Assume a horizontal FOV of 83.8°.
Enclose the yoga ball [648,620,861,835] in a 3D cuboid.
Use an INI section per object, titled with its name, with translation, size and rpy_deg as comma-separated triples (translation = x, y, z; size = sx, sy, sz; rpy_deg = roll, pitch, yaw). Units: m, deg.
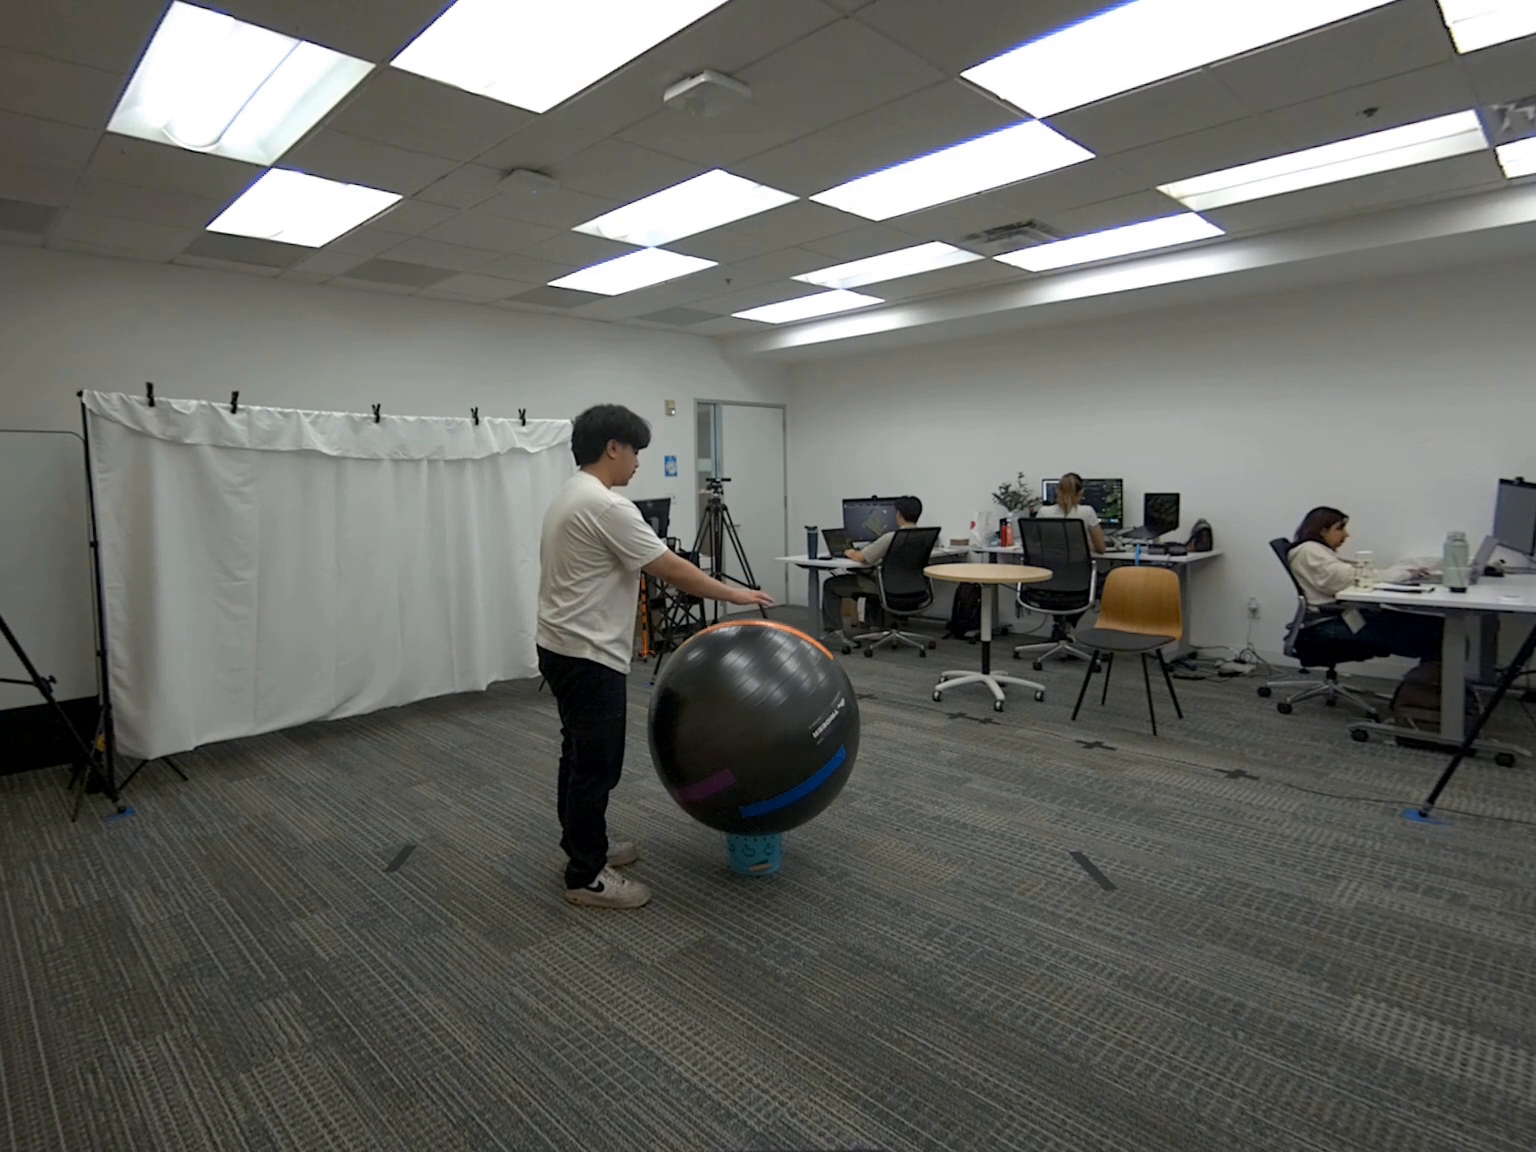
[yoga ball]
translation = -0.048, 0.538, 3.060
size = 0.757, 0.755, 0.762
rpy_deg = -1, 5, -2
